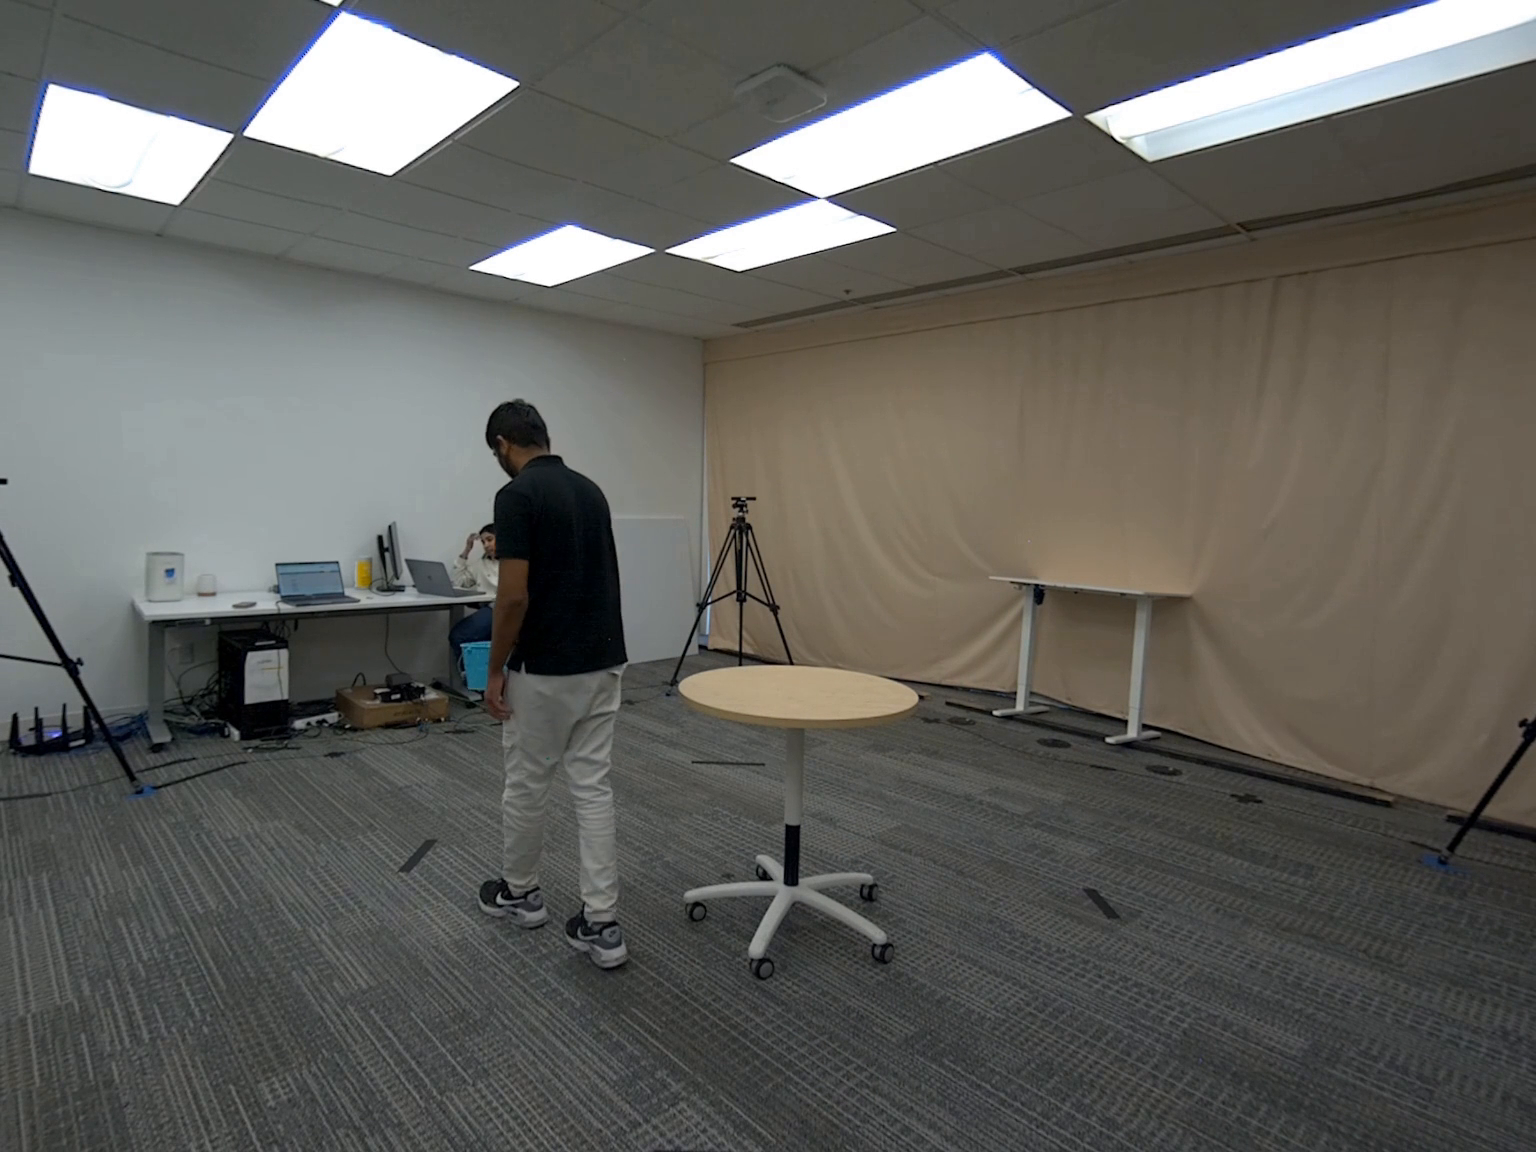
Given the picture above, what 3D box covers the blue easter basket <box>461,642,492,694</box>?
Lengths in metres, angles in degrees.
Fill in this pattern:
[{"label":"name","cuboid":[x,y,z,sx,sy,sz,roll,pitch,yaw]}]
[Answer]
[{"label":"blue easter basket","cuboid":[-0.986,0.322,2.996,0.243,0.156,0.243,-1,0,-1]}]
